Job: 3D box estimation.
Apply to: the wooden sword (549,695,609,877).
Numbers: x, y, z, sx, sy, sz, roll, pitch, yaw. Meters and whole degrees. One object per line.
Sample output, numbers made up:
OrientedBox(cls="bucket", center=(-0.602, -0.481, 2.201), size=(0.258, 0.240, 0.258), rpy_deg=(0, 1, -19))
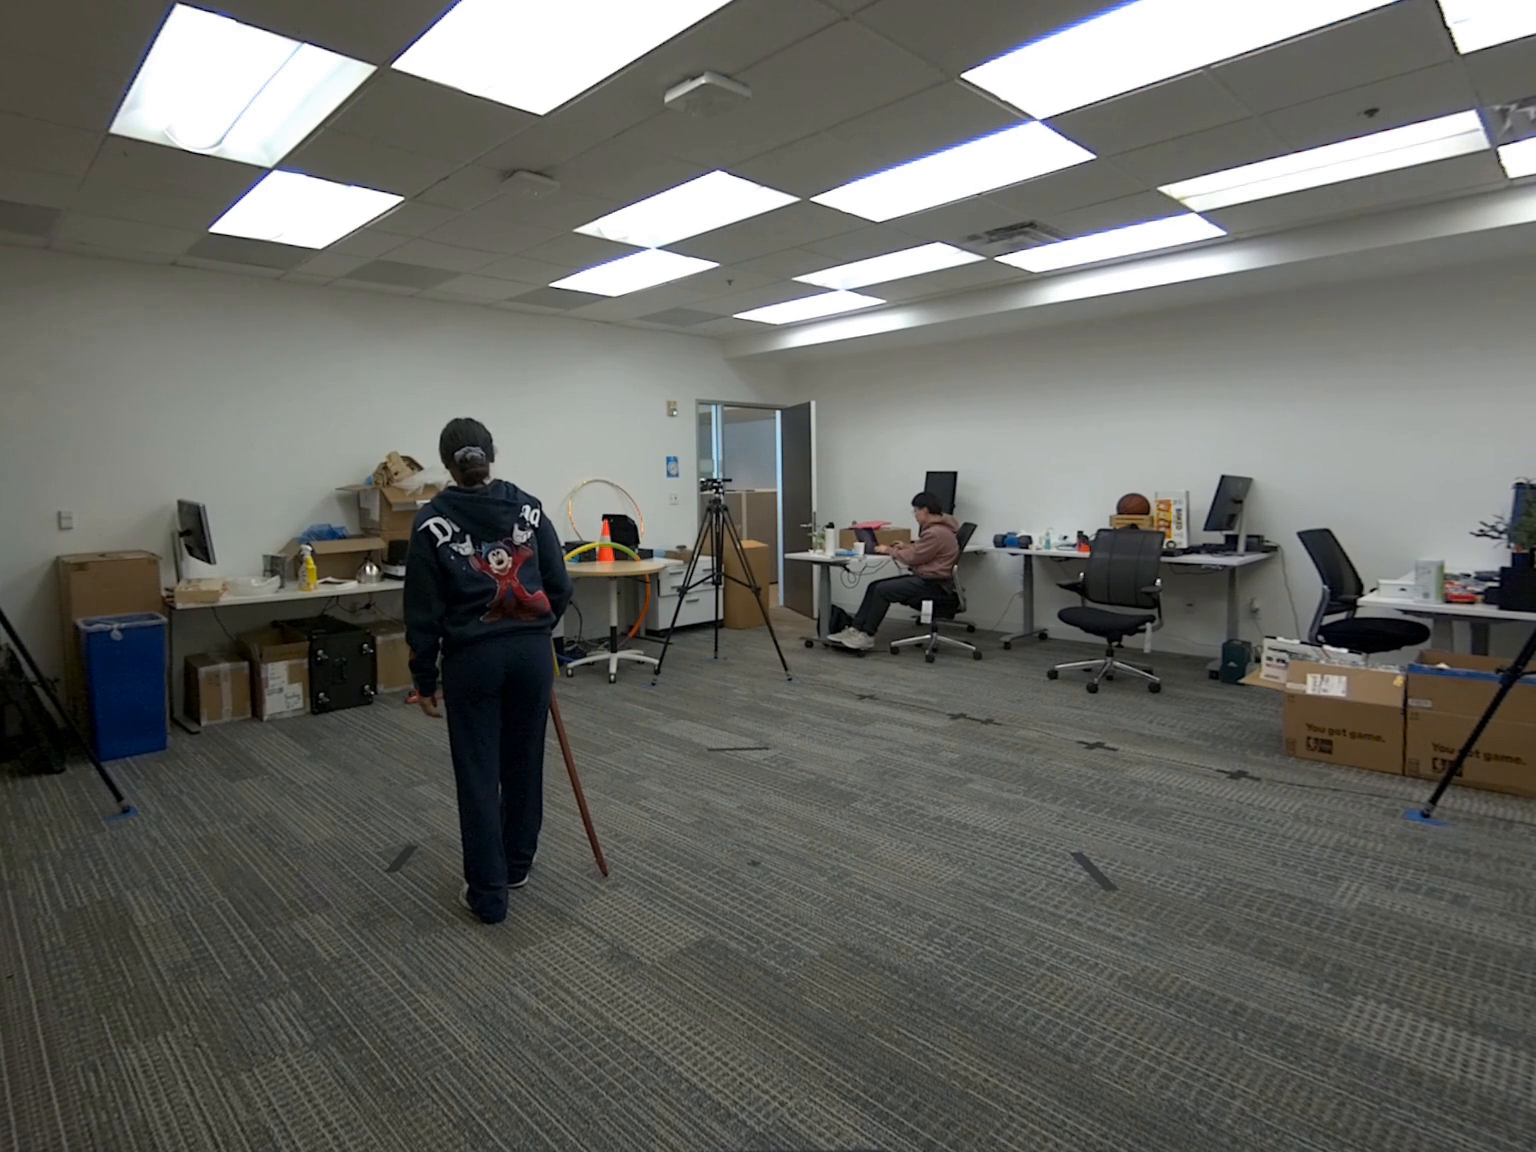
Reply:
OrientedBox(cls="wooden sword", center=(-0.722, 0.590, 3.061), size=(0.050, 1.031, 0.024), rpy_deg=(-13, -7, -40))
